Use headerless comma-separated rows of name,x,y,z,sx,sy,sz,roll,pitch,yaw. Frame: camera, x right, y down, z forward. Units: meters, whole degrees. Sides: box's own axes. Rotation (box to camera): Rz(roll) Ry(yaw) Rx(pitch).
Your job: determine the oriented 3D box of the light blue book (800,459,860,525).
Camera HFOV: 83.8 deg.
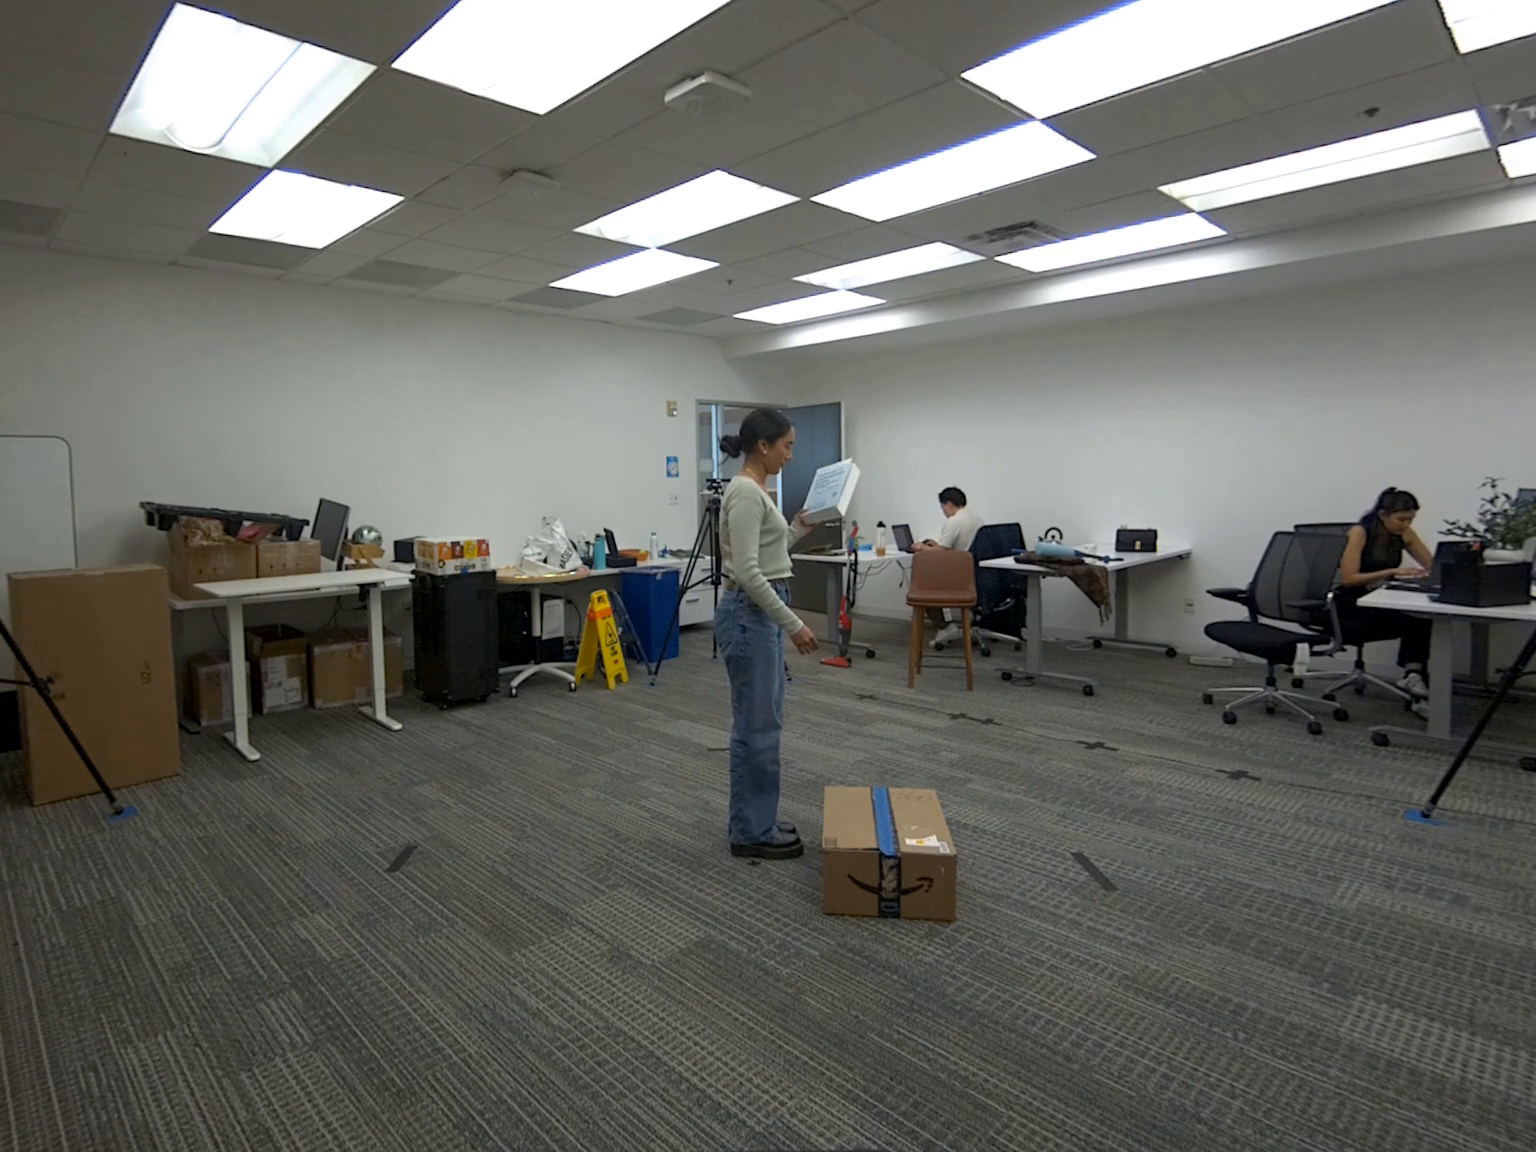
light blue book,0.255,-0.333,3.449,0.195,0.264,0.057,-12,-46,39
